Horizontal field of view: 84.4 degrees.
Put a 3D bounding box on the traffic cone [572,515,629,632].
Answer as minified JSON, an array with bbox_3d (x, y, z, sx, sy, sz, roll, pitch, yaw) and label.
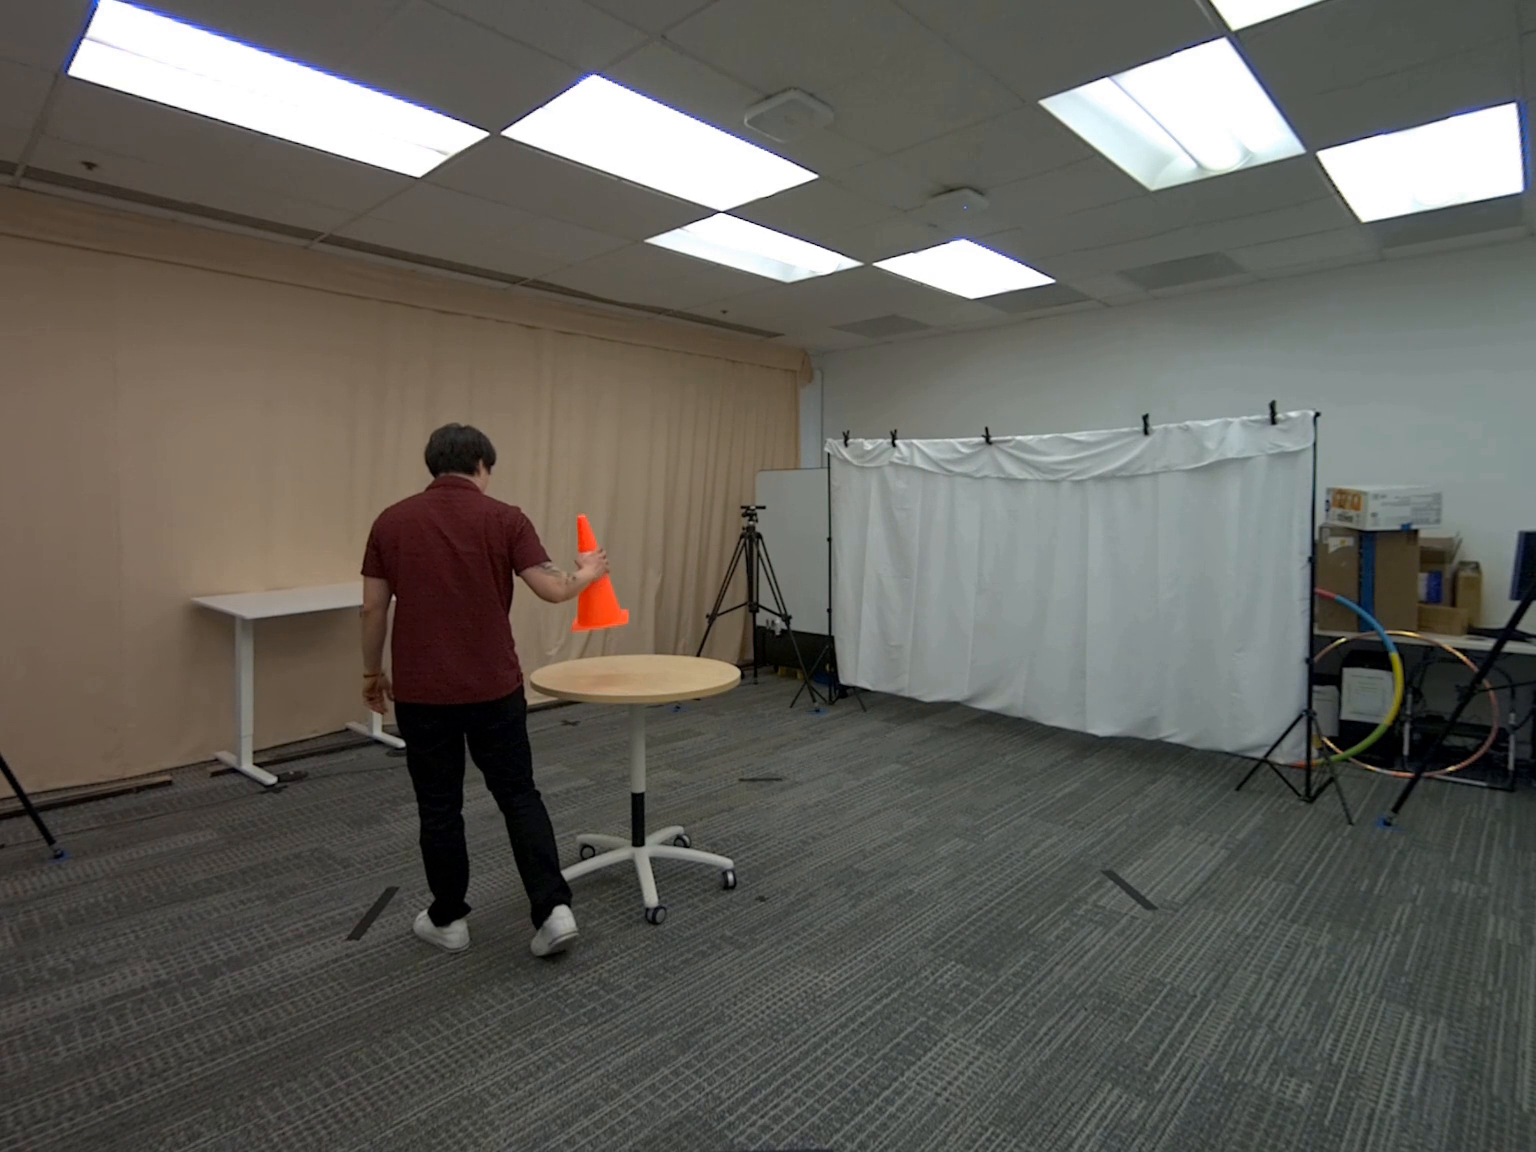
[{"bbox_3d":[-0.625,-0.022,2.943,0.203,0.381,0.206,-11,10,-8],"label":"traffic cone"}]
